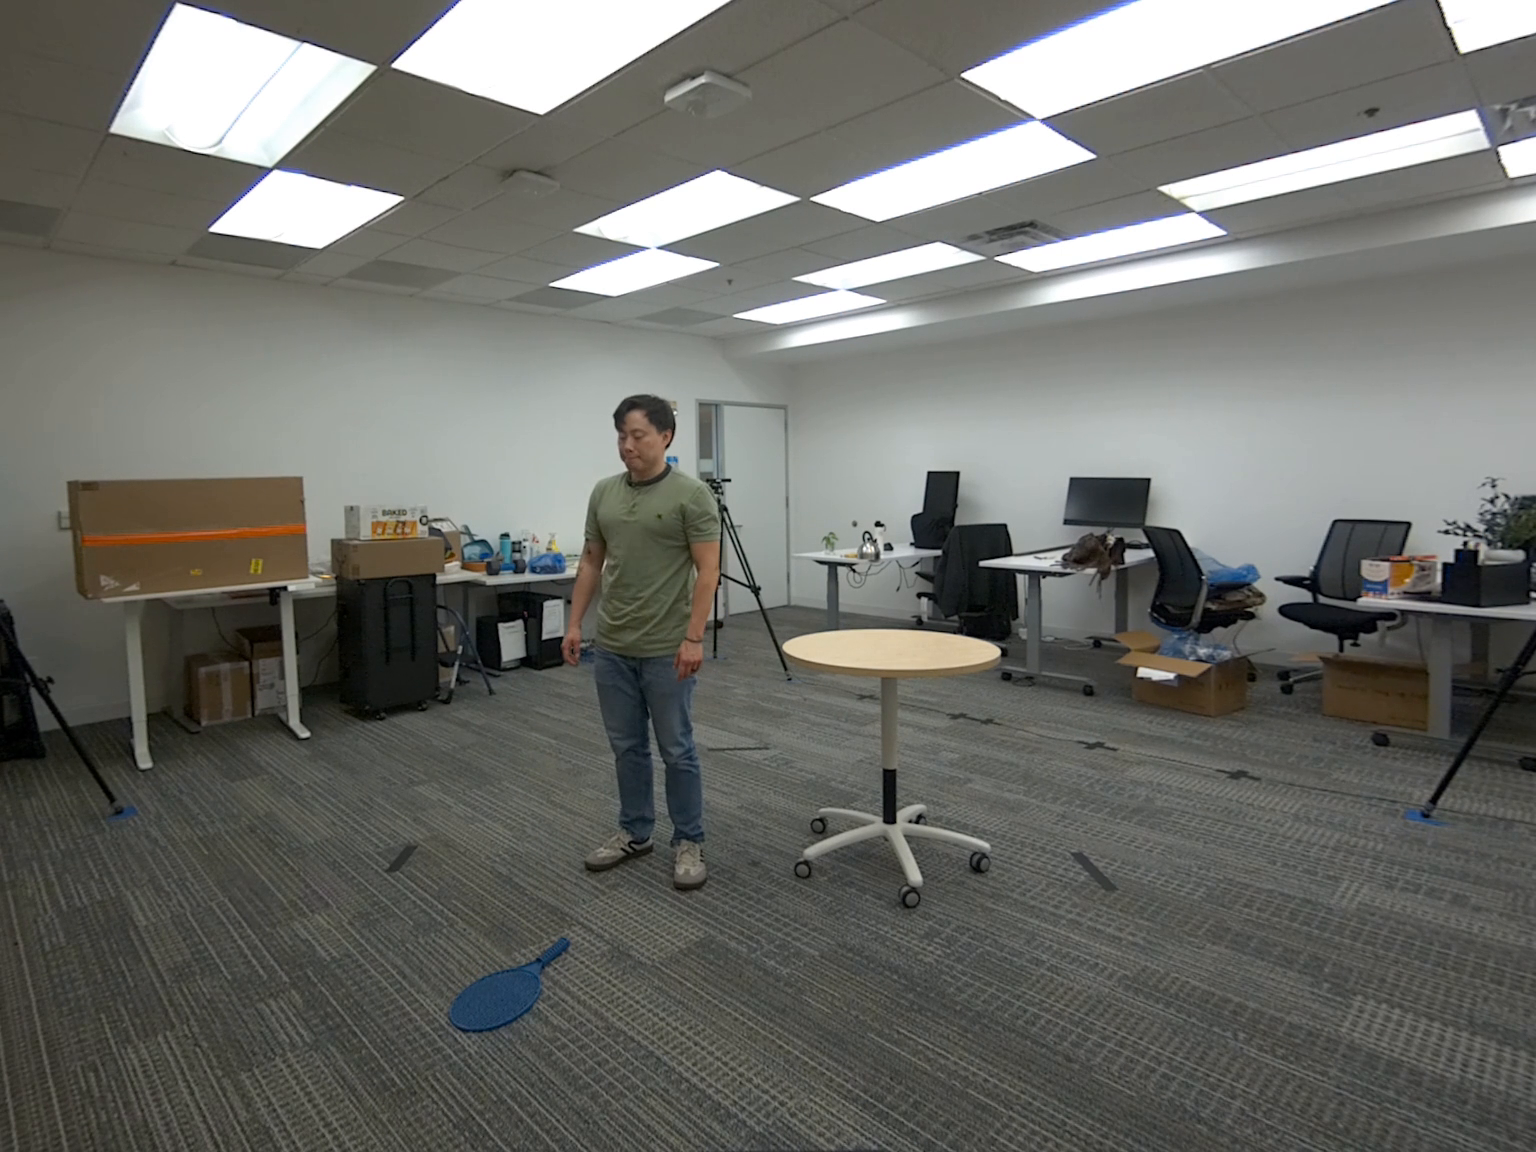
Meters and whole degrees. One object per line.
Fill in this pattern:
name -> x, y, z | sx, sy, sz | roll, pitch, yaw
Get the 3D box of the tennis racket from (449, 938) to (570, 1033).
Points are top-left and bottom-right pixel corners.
tennis racket -> -0.686, 1.128, 2.378 | 0.219, 0.031, 0.425 | 2, 9, 27
